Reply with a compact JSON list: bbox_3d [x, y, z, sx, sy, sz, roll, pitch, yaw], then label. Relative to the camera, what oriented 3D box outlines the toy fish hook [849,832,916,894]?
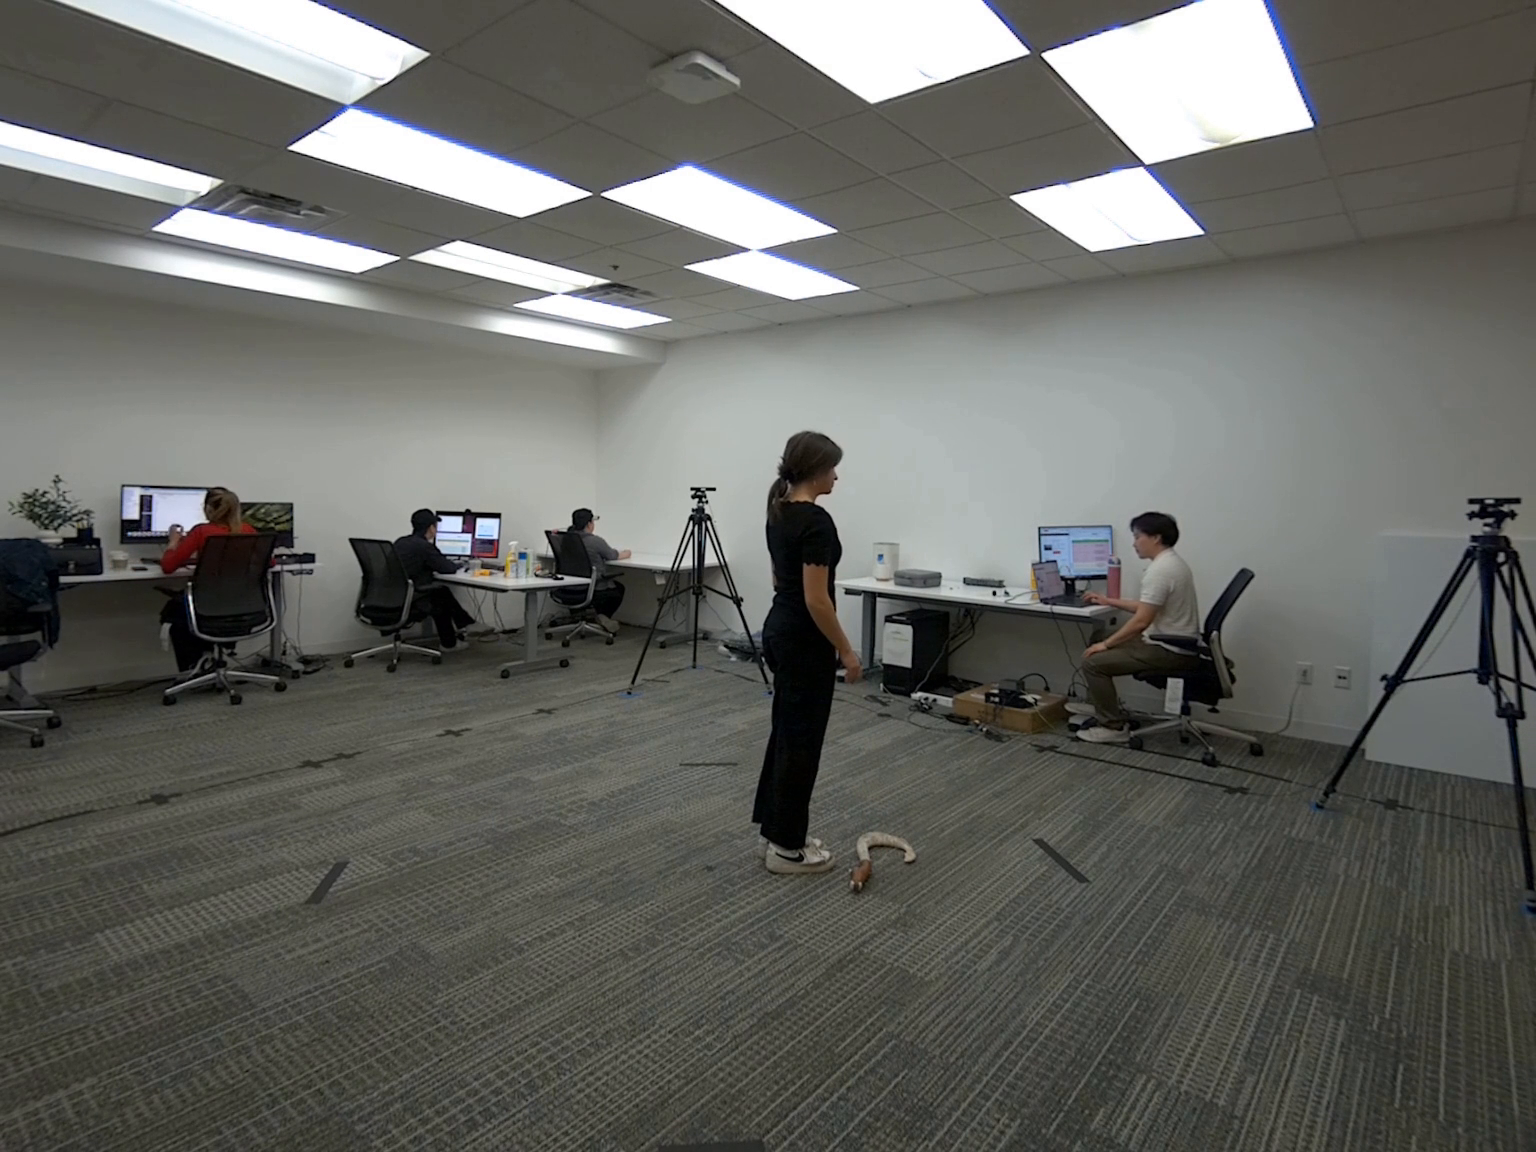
[{"bbox_3d":[0.411,1.052,3.145,0.229,0.048,0.499,2,6,17],"label":"toy fish hook"}]
